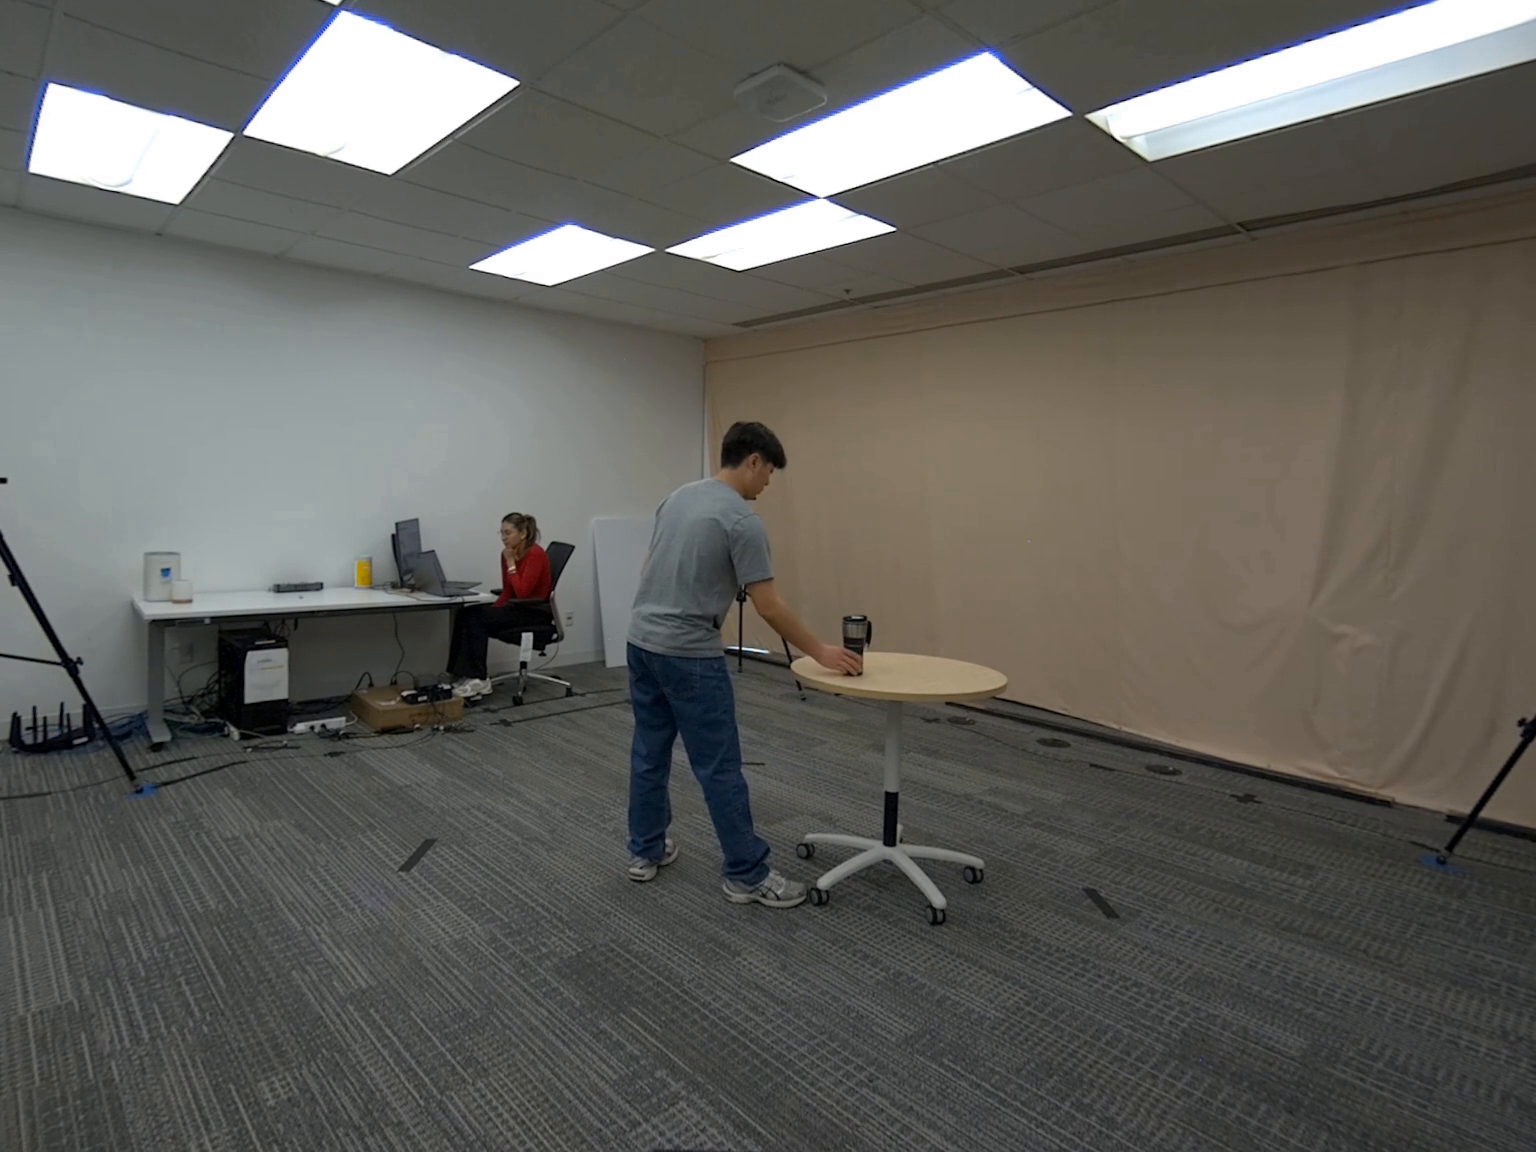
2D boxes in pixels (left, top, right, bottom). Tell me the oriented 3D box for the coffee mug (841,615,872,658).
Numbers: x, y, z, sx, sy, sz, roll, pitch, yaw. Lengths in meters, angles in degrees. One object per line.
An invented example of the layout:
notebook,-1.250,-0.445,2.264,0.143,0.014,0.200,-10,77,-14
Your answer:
coffee mug,0.313,0.238,2.968,0.121,0.202,0.089,-2,3,-10
